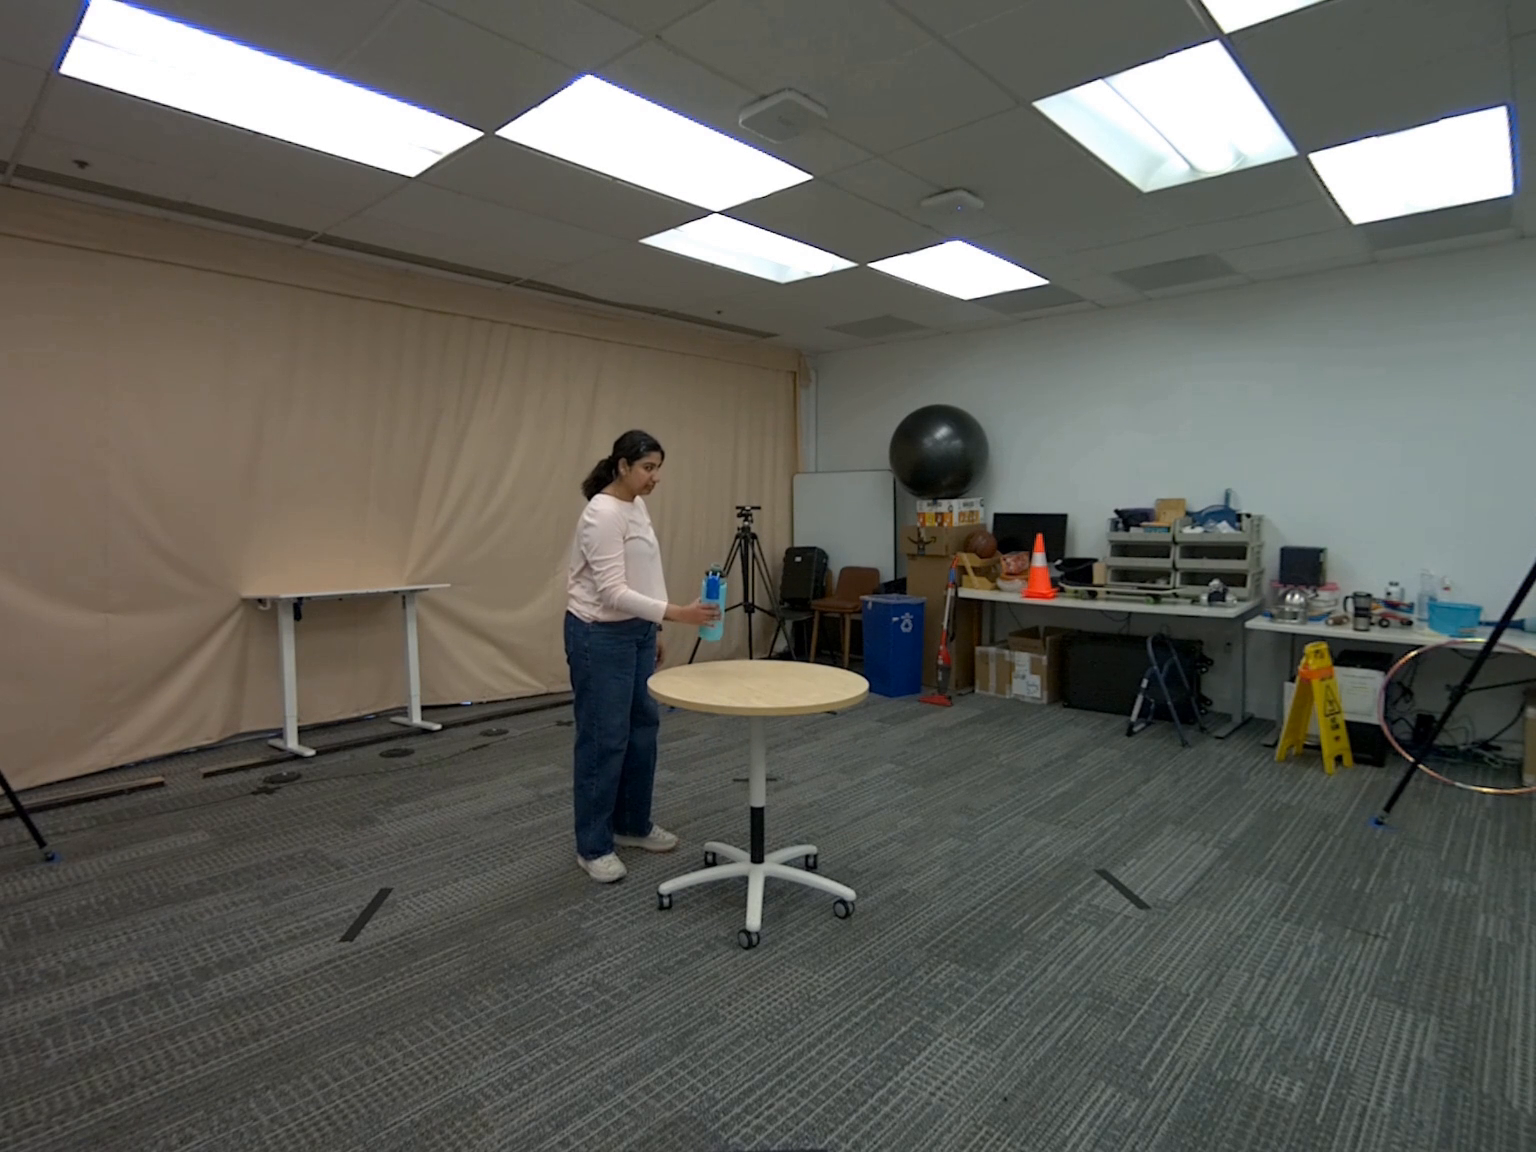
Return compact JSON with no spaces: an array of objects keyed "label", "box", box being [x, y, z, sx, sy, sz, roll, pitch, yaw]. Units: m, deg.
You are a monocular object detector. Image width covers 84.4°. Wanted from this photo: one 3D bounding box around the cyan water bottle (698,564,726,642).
[{"label":"cyan water bottle","box":[-0.202,0.103,3.050,0.092,0.280,0.094,5,25,-4]}]
